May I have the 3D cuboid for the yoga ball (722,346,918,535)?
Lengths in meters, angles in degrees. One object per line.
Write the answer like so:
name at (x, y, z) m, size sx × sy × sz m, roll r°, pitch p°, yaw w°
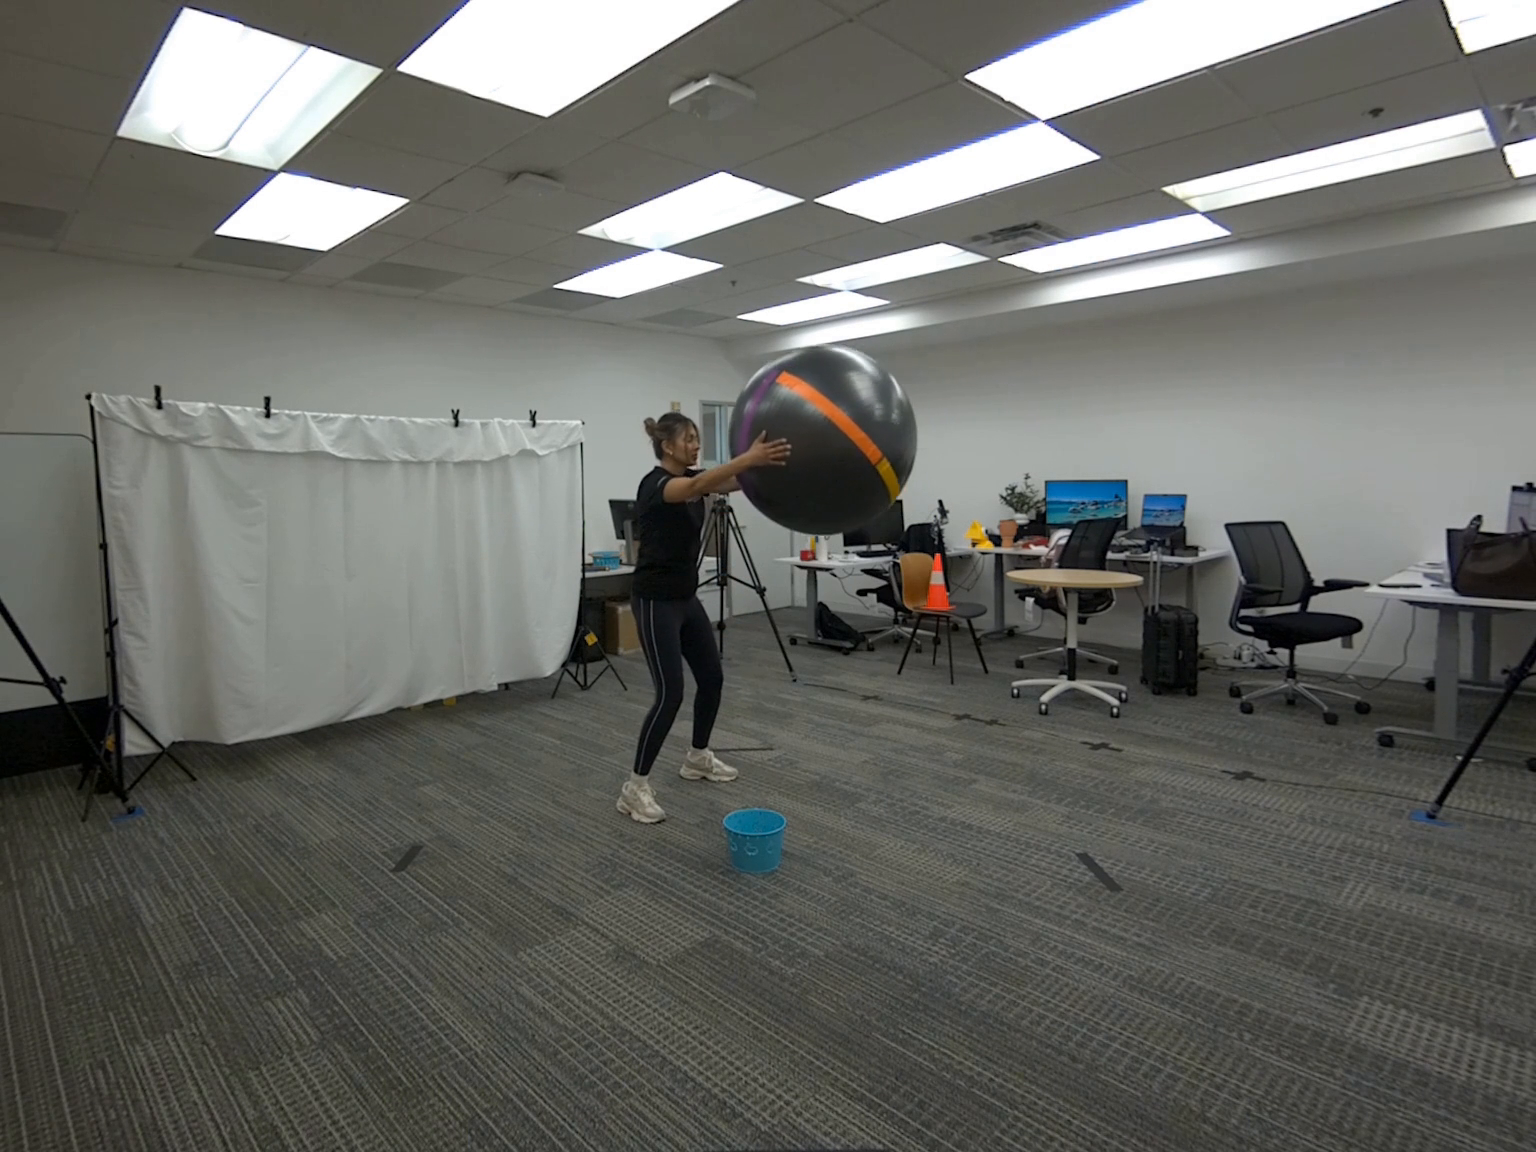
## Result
yoga ball at (0.209, -0.535, 3.448) m, size 0.757 × 0.755 × 0.762 m, roll -1°, pitch 5°, yaw -2°
